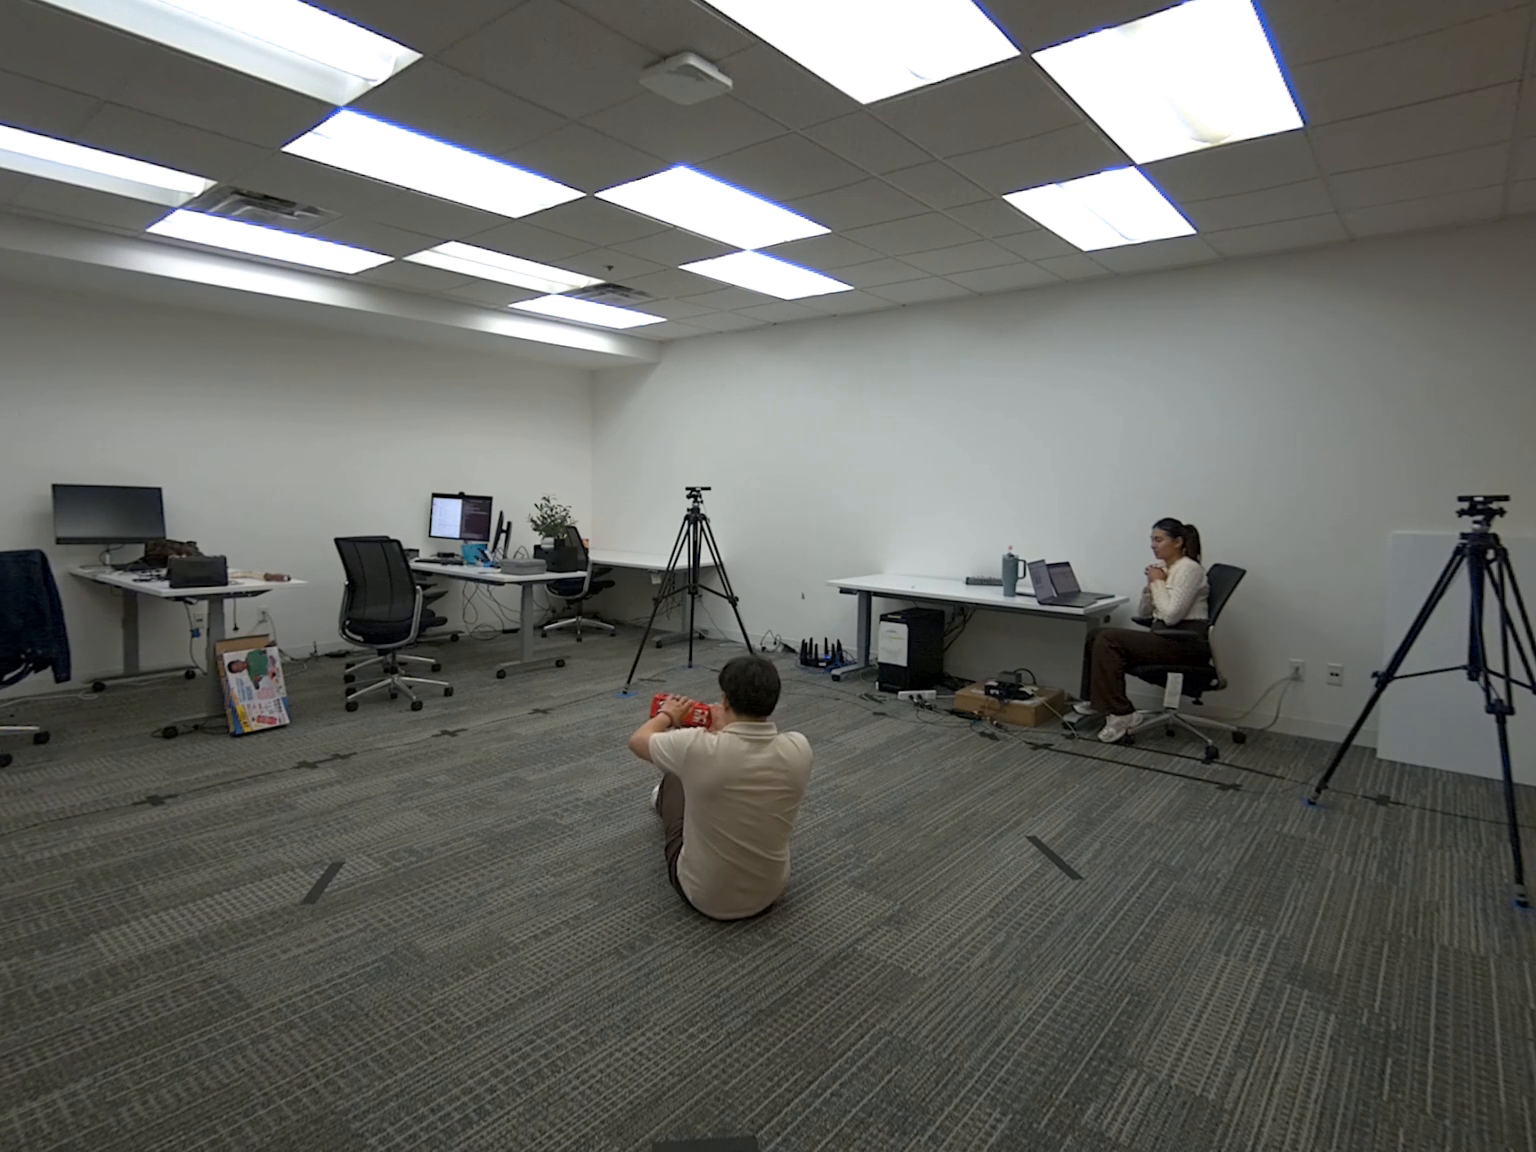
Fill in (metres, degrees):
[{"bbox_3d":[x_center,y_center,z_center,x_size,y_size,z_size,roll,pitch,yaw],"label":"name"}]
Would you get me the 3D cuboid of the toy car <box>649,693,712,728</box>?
[{"bbox_3d":[-0.318,0.529,3.189,0.255,0.132,0.082,13,-18,2],"label":"toy car"}]
